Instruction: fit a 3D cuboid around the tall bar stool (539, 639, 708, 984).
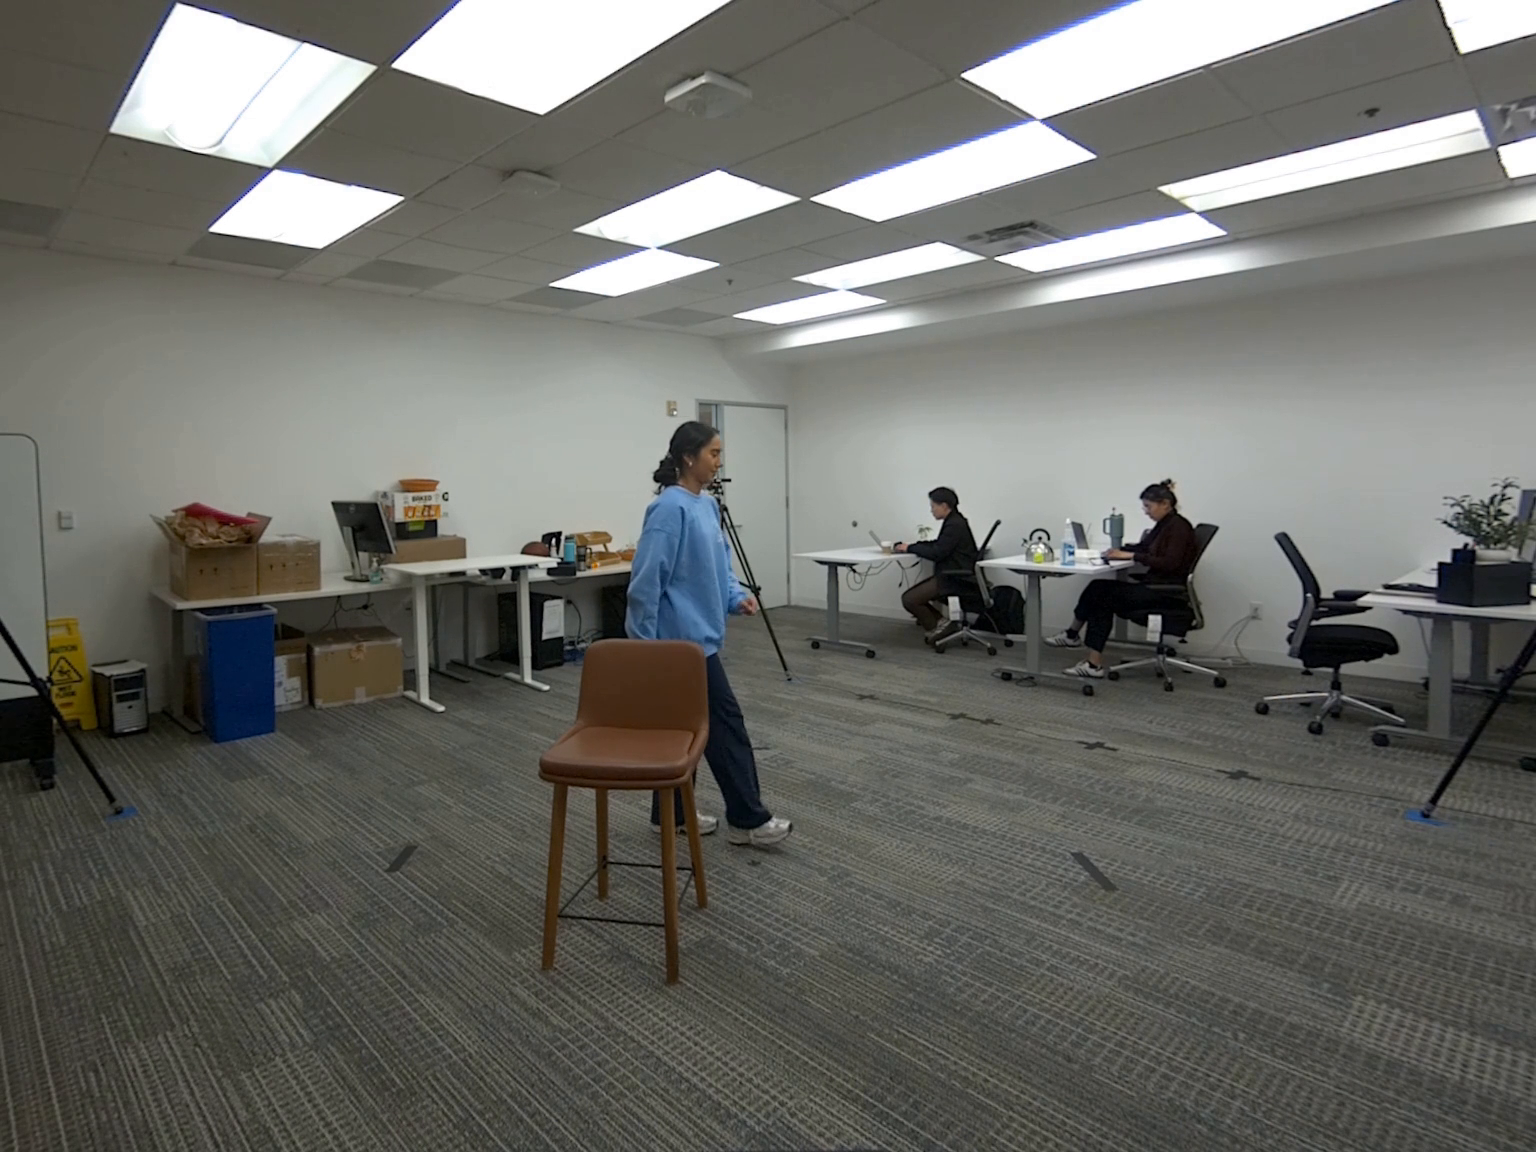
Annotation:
[{"bbox_3d":[-0.424,0.675,2.610,0.462,0.888,0.463,0,3,12],"label":"tall bar stool"}]
